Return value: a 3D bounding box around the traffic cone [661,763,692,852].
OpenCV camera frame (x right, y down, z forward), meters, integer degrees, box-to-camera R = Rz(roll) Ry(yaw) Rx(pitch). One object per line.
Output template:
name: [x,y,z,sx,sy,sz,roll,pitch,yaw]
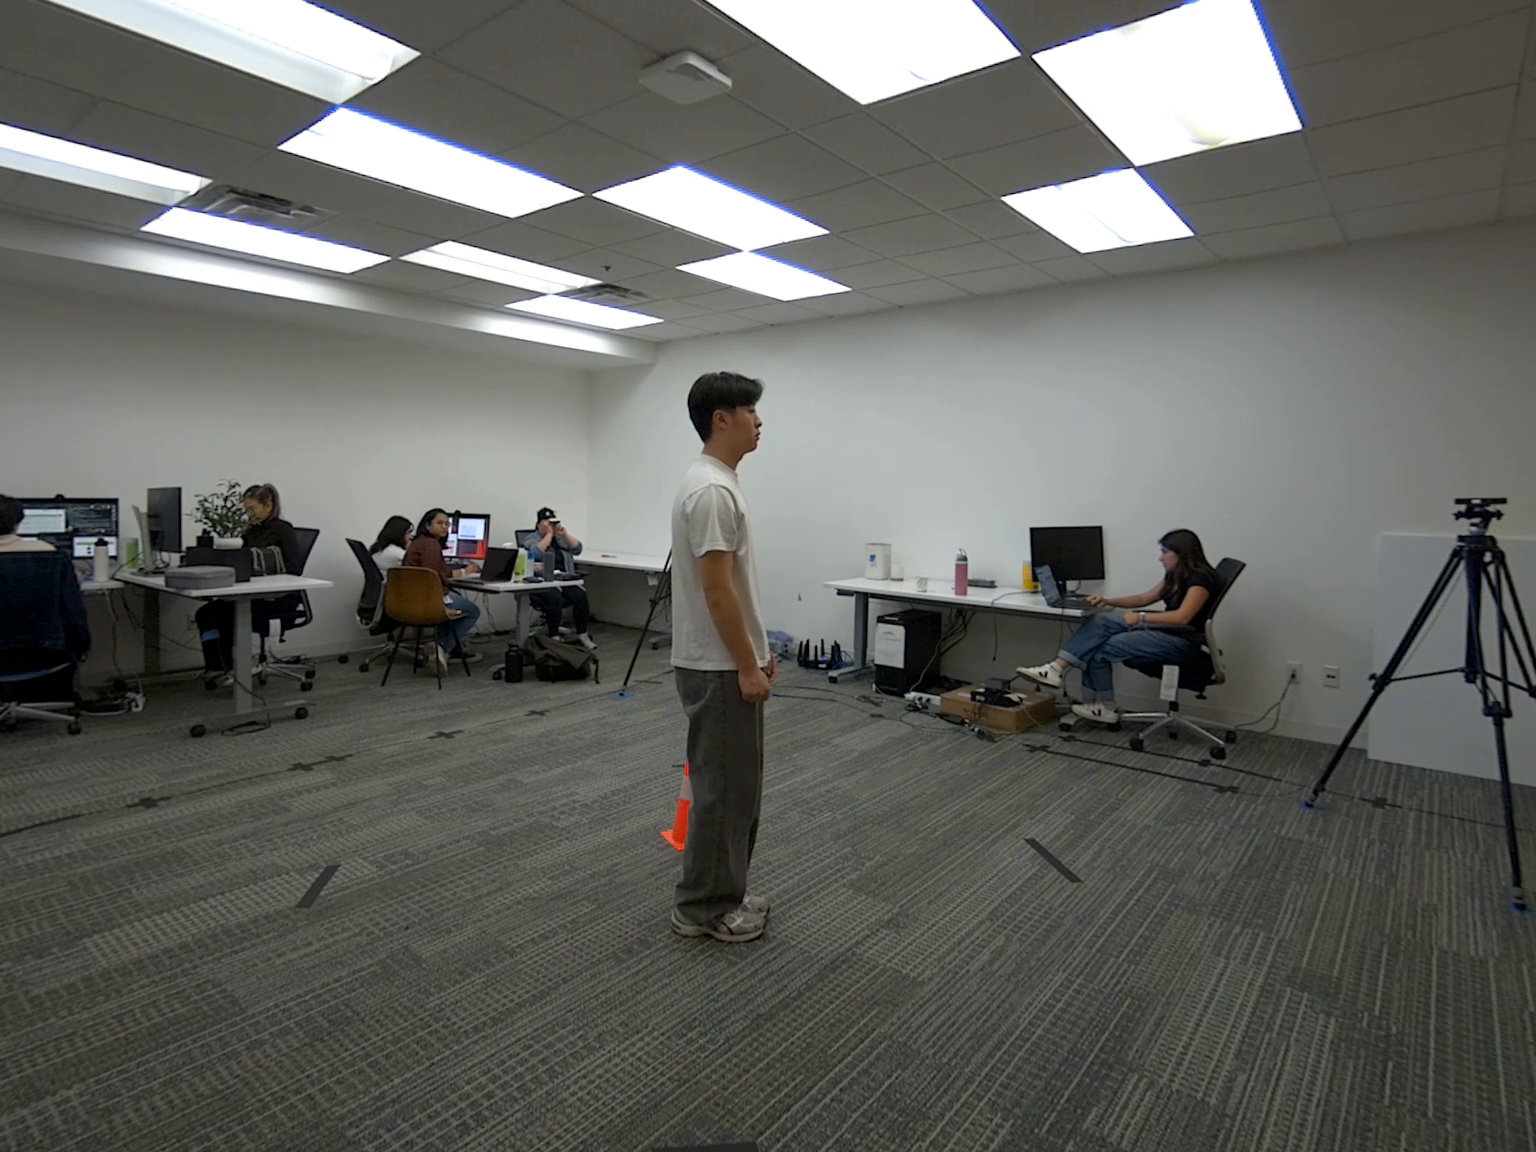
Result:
traffic cone: [-0.296,0.855,3.388,0.198,0.382,0.211,0,6,-27]
